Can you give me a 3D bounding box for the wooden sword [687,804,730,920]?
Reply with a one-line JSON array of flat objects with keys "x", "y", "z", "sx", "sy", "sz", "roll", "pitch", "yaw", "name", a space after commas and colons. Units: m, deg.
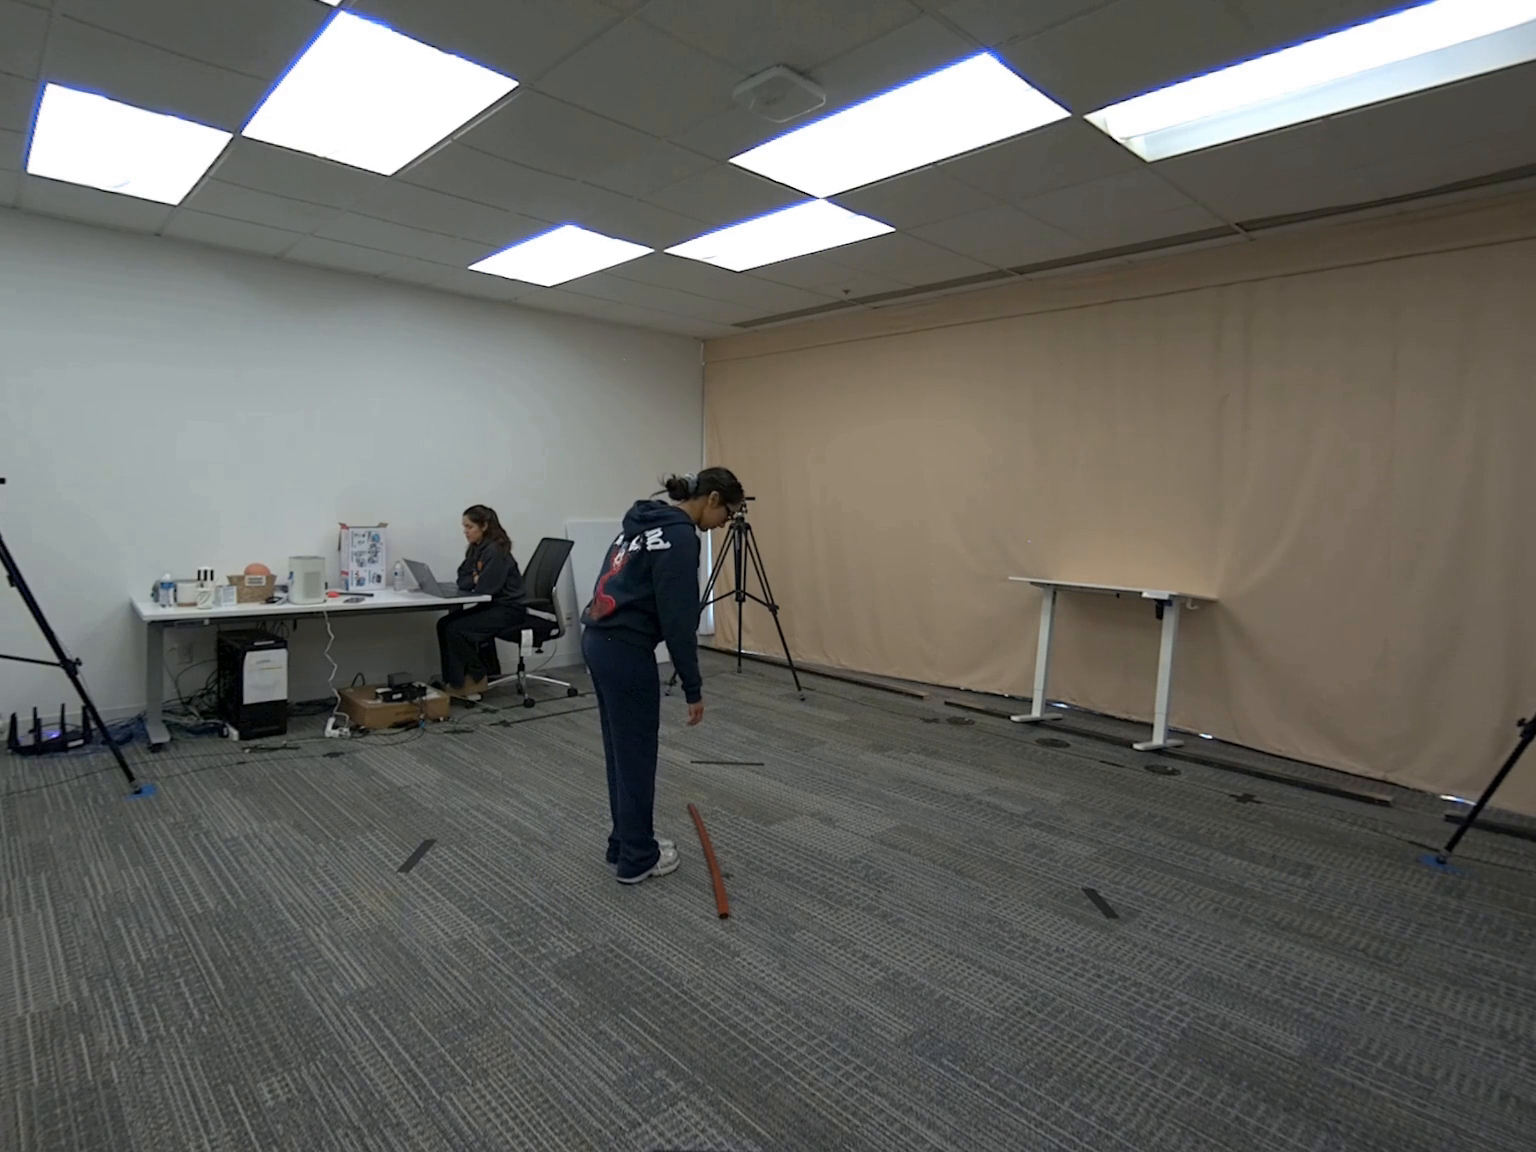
[{"x": -0.242, "y": 1.071, "z": 3.287, "sx": 0.051, "sy": 0.024, "sz": 1.035, "roll": -20, "pitch": 9, "yaw": -8, "name": "wooden sword"}]
